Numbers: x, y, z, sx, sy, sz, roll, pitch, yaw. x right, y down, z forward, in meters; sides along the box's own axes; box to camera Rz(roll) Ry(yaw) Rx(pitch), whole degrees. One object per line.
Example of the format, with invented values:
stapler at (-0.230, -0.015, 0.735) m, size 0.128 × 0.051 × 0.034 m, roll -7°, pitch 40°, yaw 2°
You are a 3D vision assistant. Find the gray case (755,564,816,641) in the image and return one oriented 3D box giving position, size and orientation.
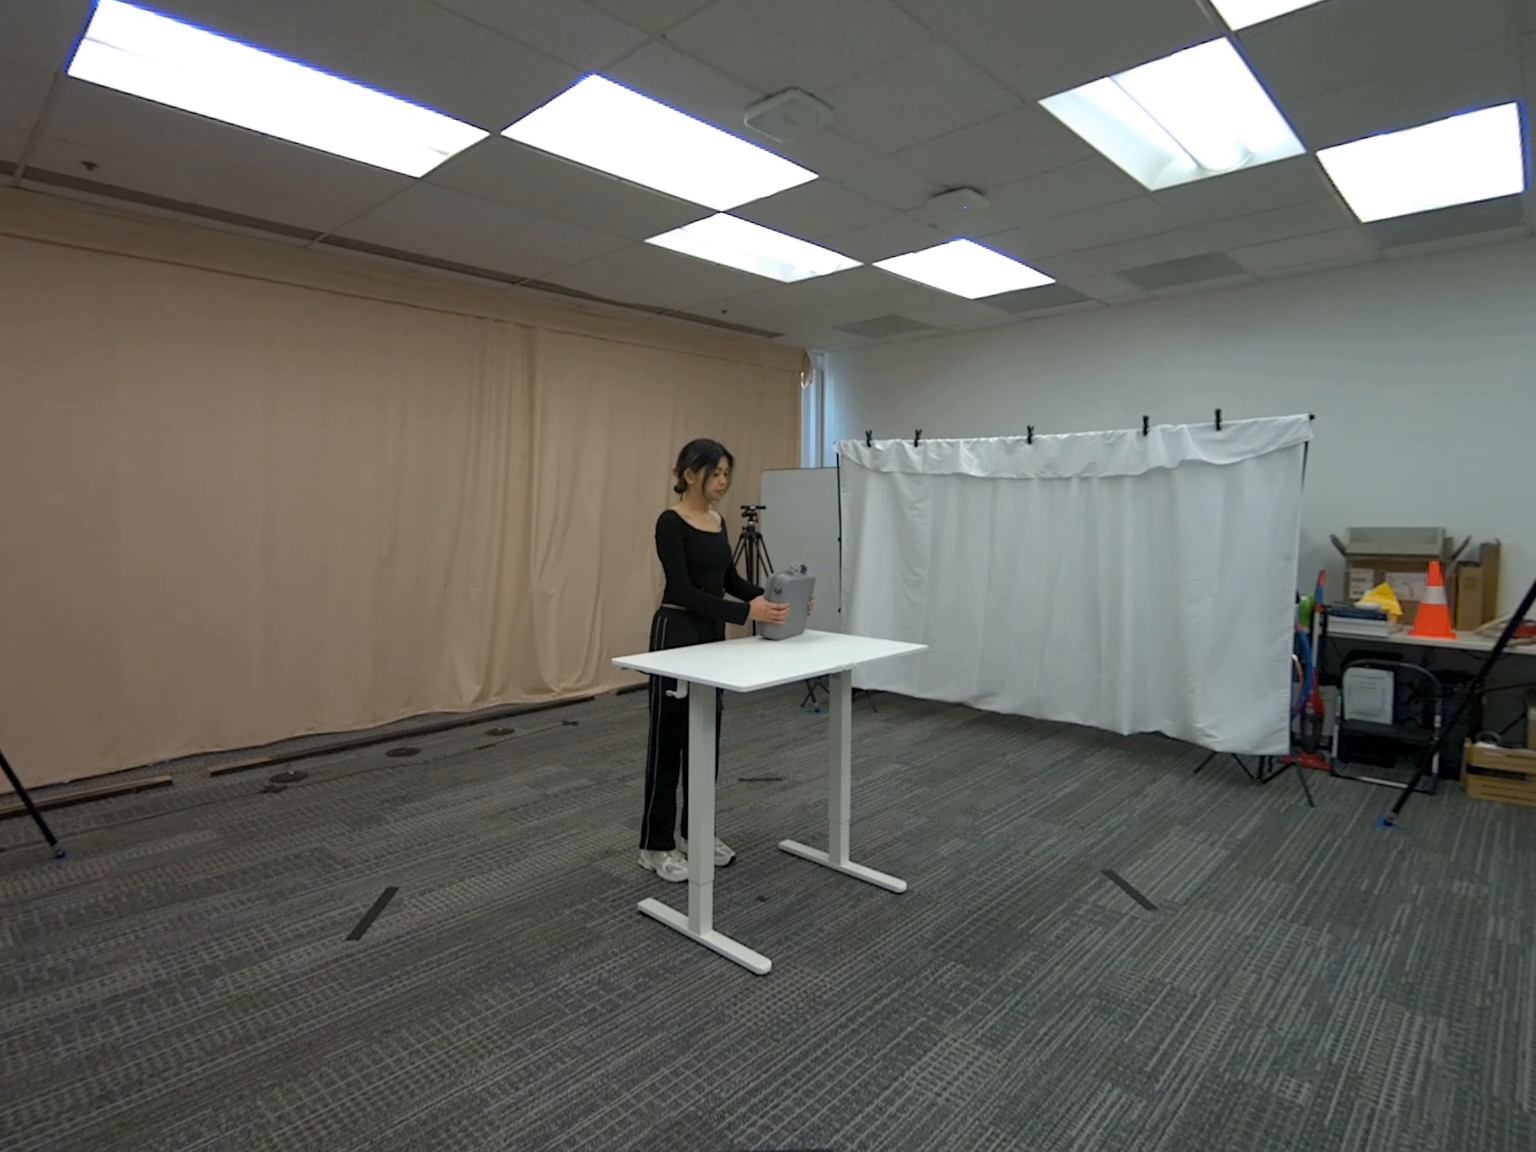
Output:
gray case at (0.071, 0.108, 3.265) m, size 0.108 × 0.259 × 0.250 m, roll 17°, pitch 11°, yaw 30°
